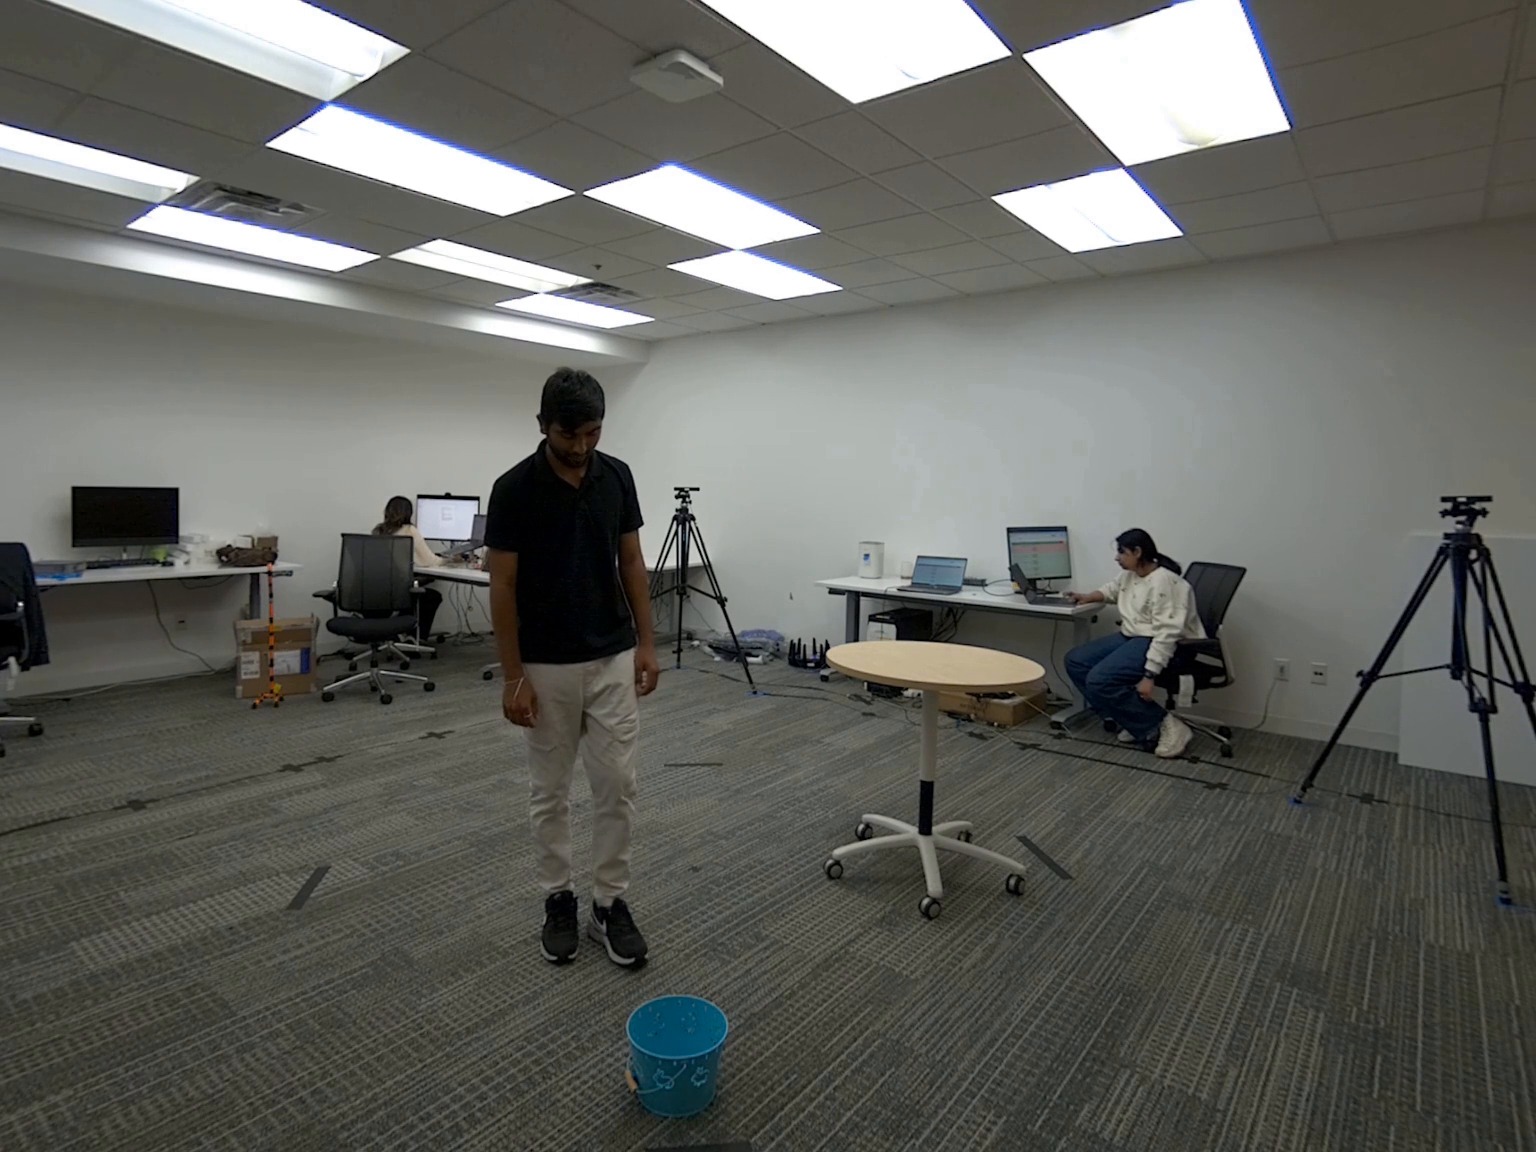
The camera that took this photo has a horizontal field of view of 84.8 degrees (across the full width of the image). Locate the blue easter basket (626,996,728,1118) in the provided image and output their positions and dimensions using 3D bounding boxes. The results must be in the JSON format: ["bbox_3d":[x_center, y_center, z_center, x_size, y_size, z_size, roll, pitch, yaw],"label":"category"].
[{"bbox_3d":[-0.215,1.102,1.972,0.243,0.155,0.245,1,5,-2],"label":"blue easter basket"}]
